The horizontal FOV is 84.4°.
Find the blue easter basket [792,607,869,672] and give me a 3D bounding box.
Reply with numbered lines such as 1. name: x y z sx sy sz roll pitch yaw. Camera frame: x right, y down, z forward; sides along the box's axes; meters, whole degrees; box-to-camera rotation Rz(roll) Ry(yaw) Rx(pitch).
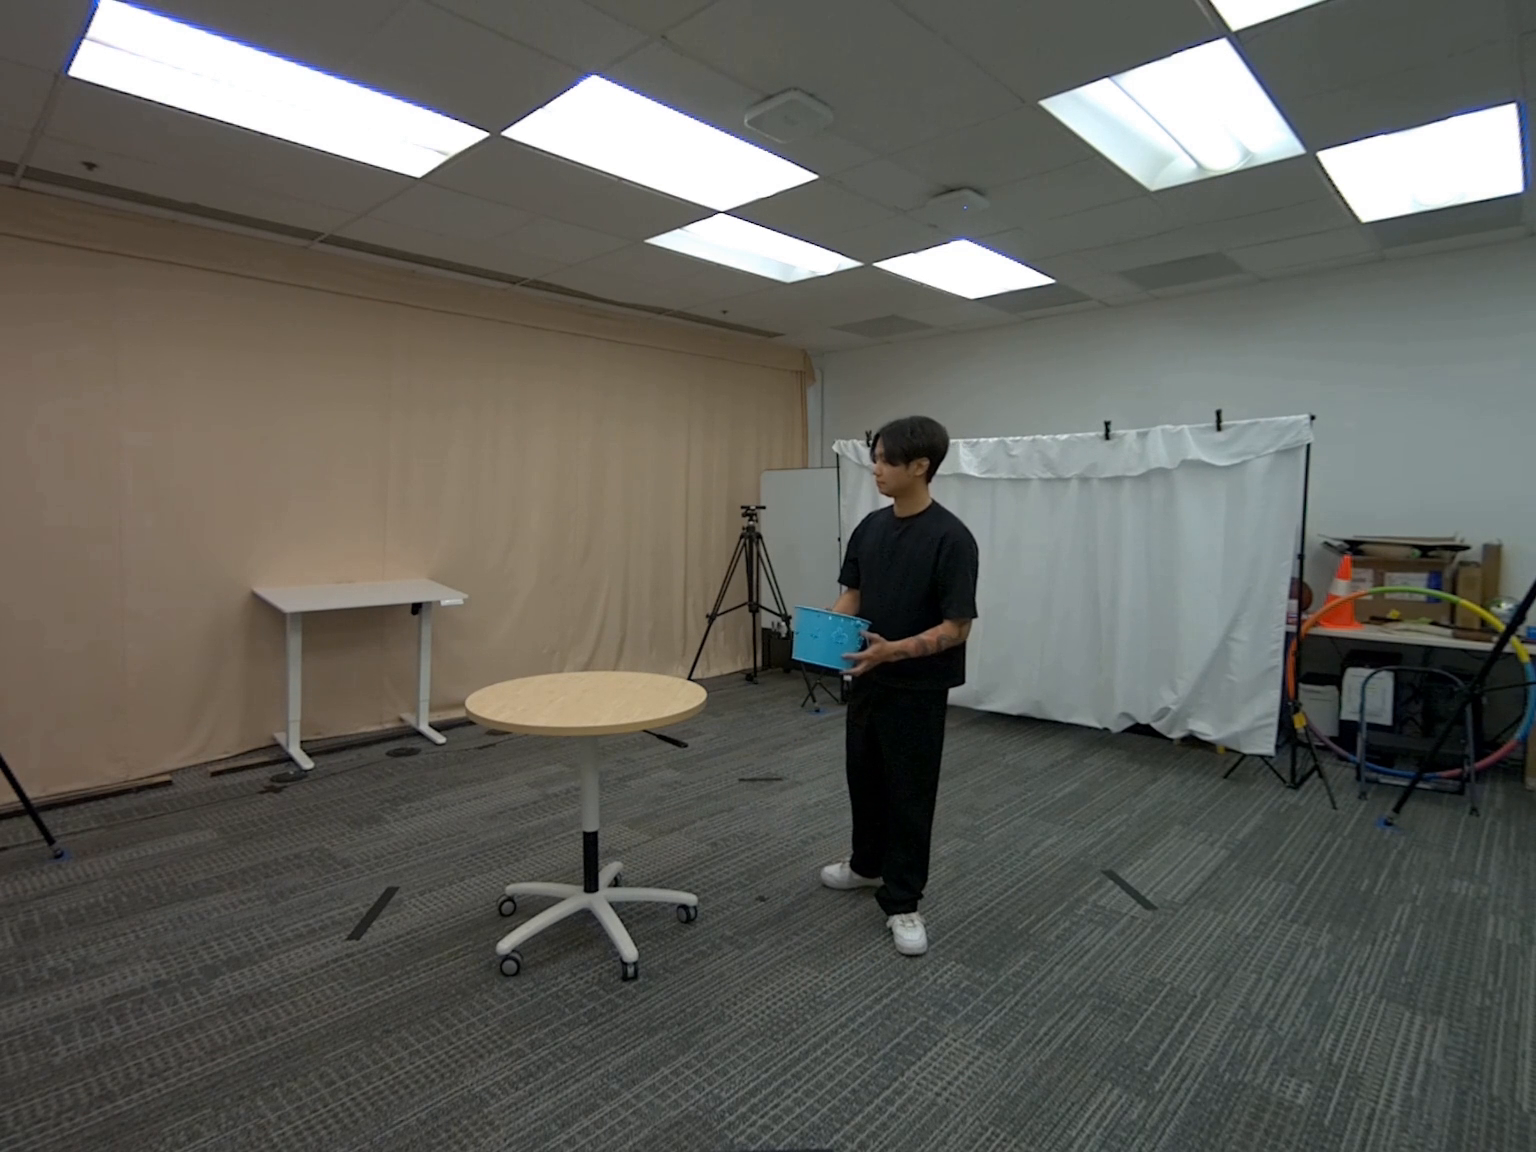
1. blue easter basket: 0.195 0.188 2.485 0.243 0.156 0.243 10 -2 -2
